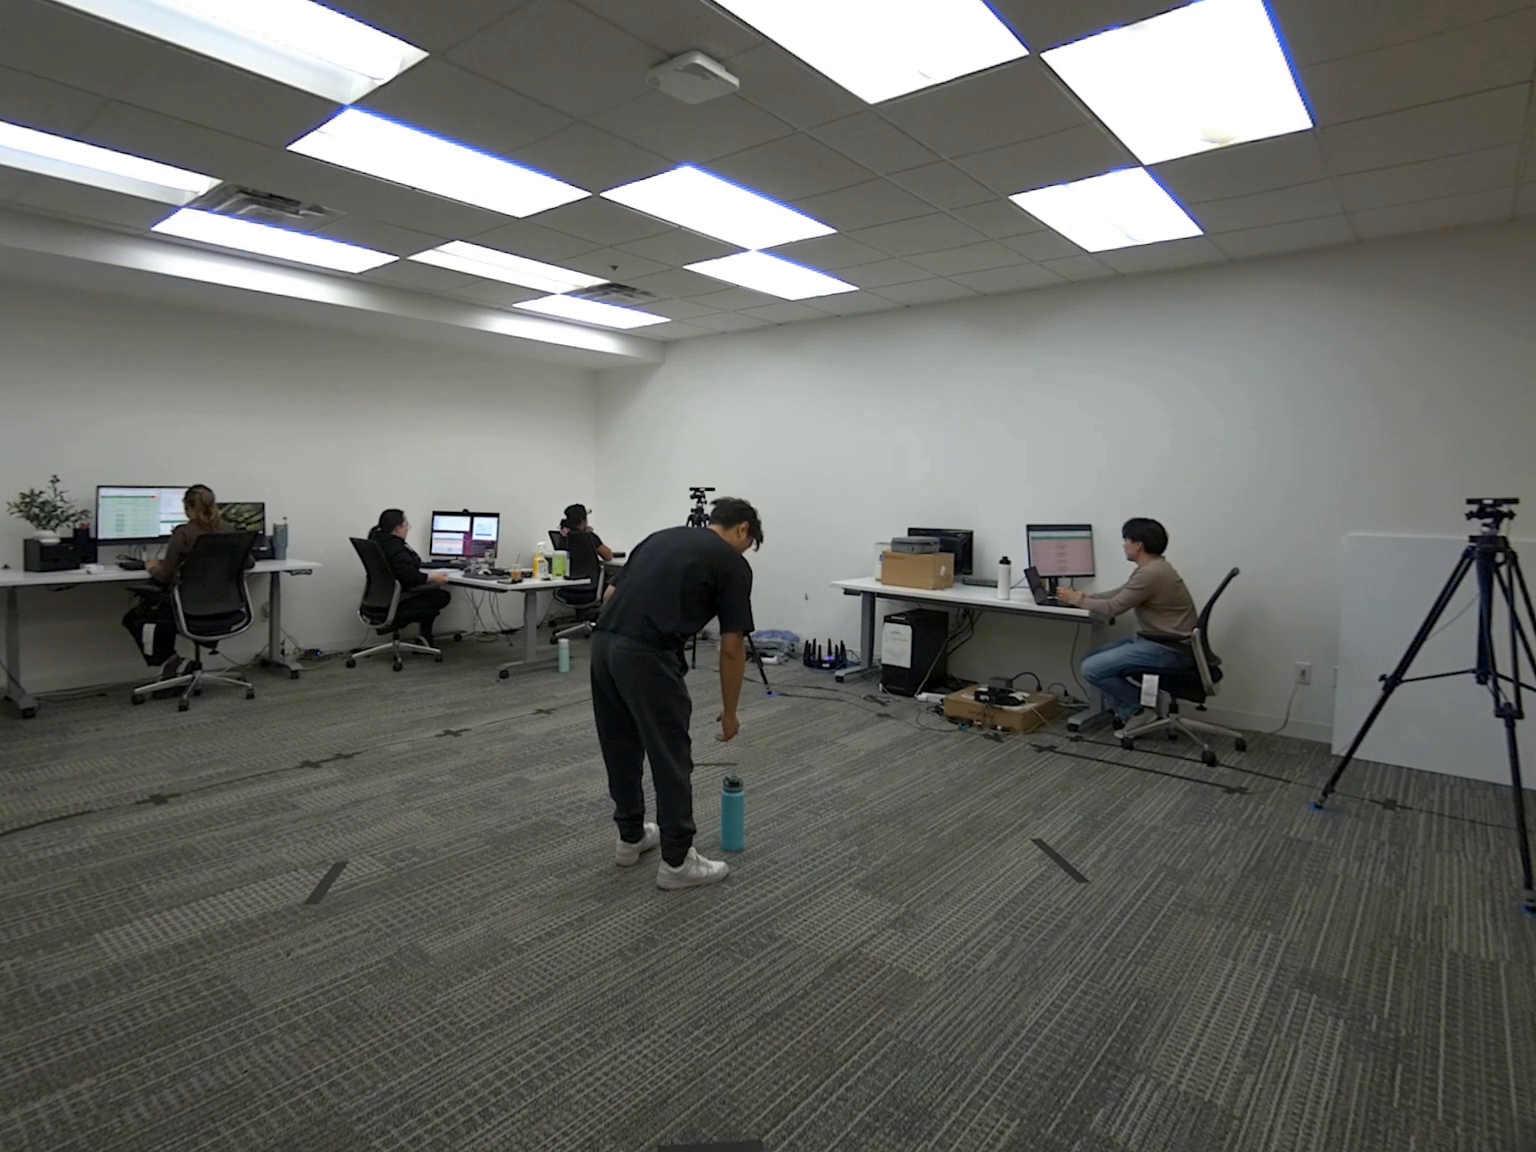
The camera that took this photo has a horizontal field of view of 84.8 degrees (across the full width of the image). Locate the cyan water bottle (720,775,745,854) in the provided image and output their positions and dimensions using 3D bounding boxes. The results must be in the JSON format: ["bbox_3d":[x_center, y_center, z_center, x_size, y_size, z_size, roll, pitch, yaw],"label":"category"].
[{"bbox_3d":[-0.149,0.909,3.296,0.092,0.283,0.092,0,2,-2],"label":"cyan water bottle"}]
